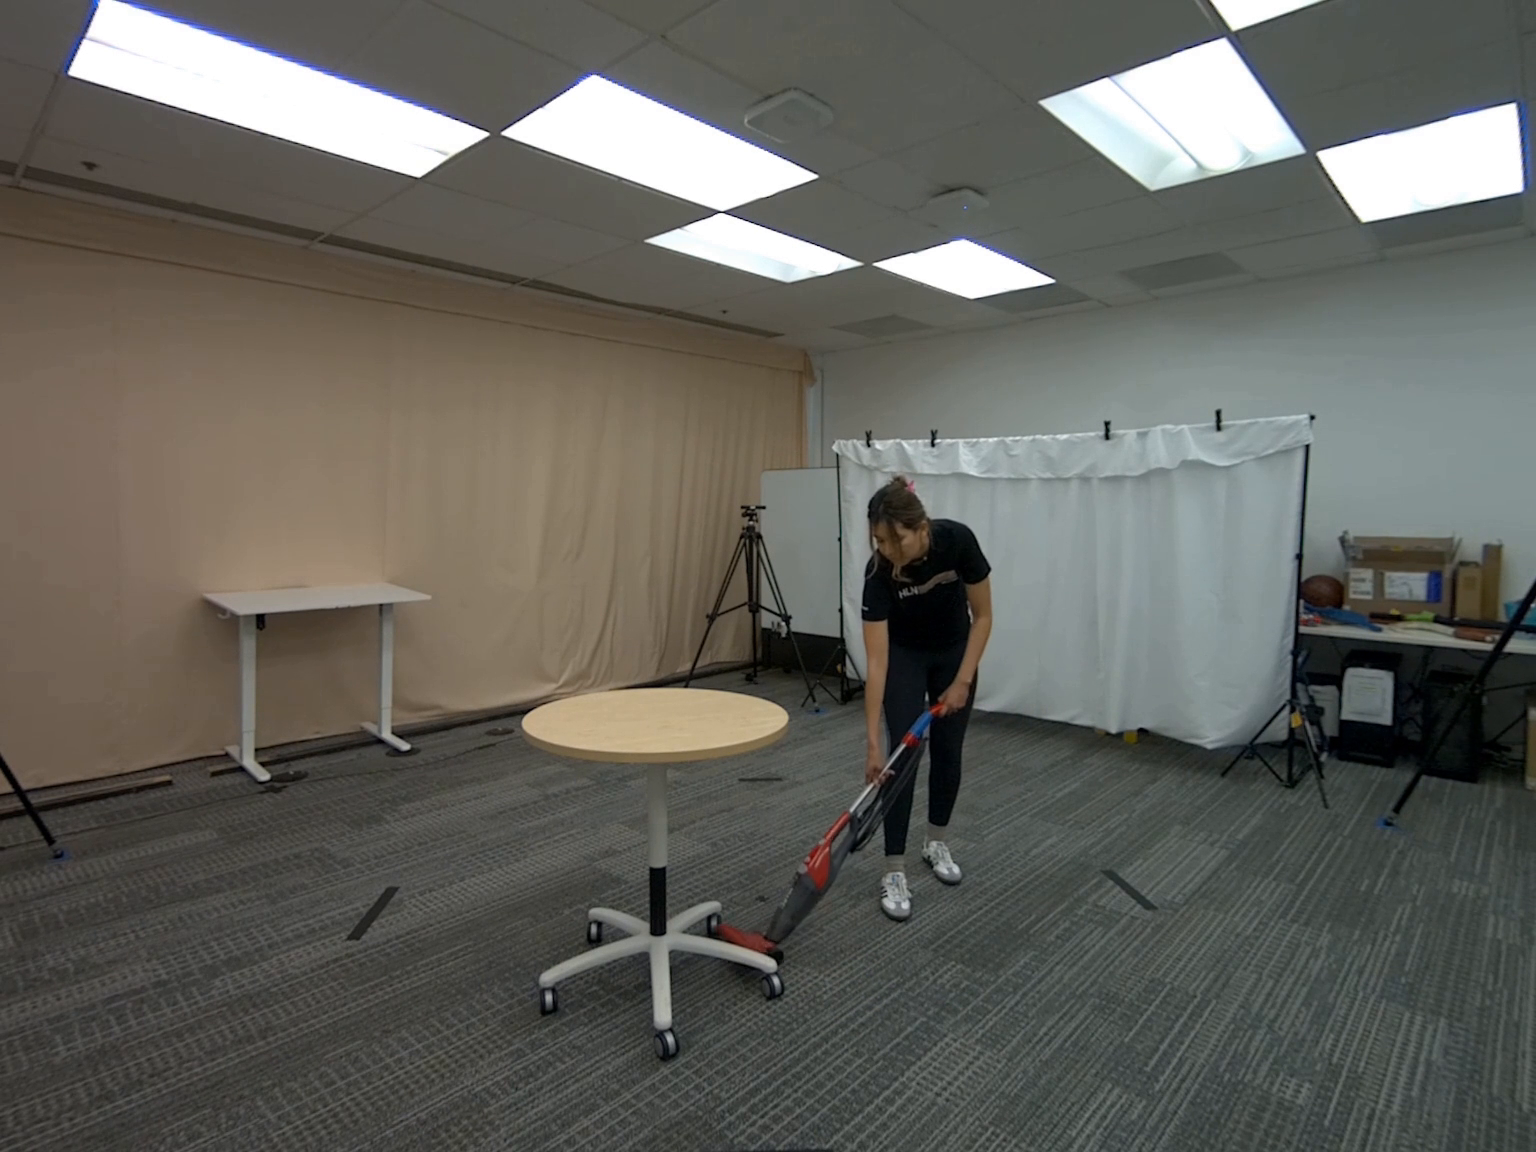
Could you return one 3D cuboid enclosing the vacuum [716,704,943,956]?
[{"bbox_3d":[0.302,0.800,2.745,1.042,0.140,0.260,-45,27,-20],"label":"vacuum"}]
